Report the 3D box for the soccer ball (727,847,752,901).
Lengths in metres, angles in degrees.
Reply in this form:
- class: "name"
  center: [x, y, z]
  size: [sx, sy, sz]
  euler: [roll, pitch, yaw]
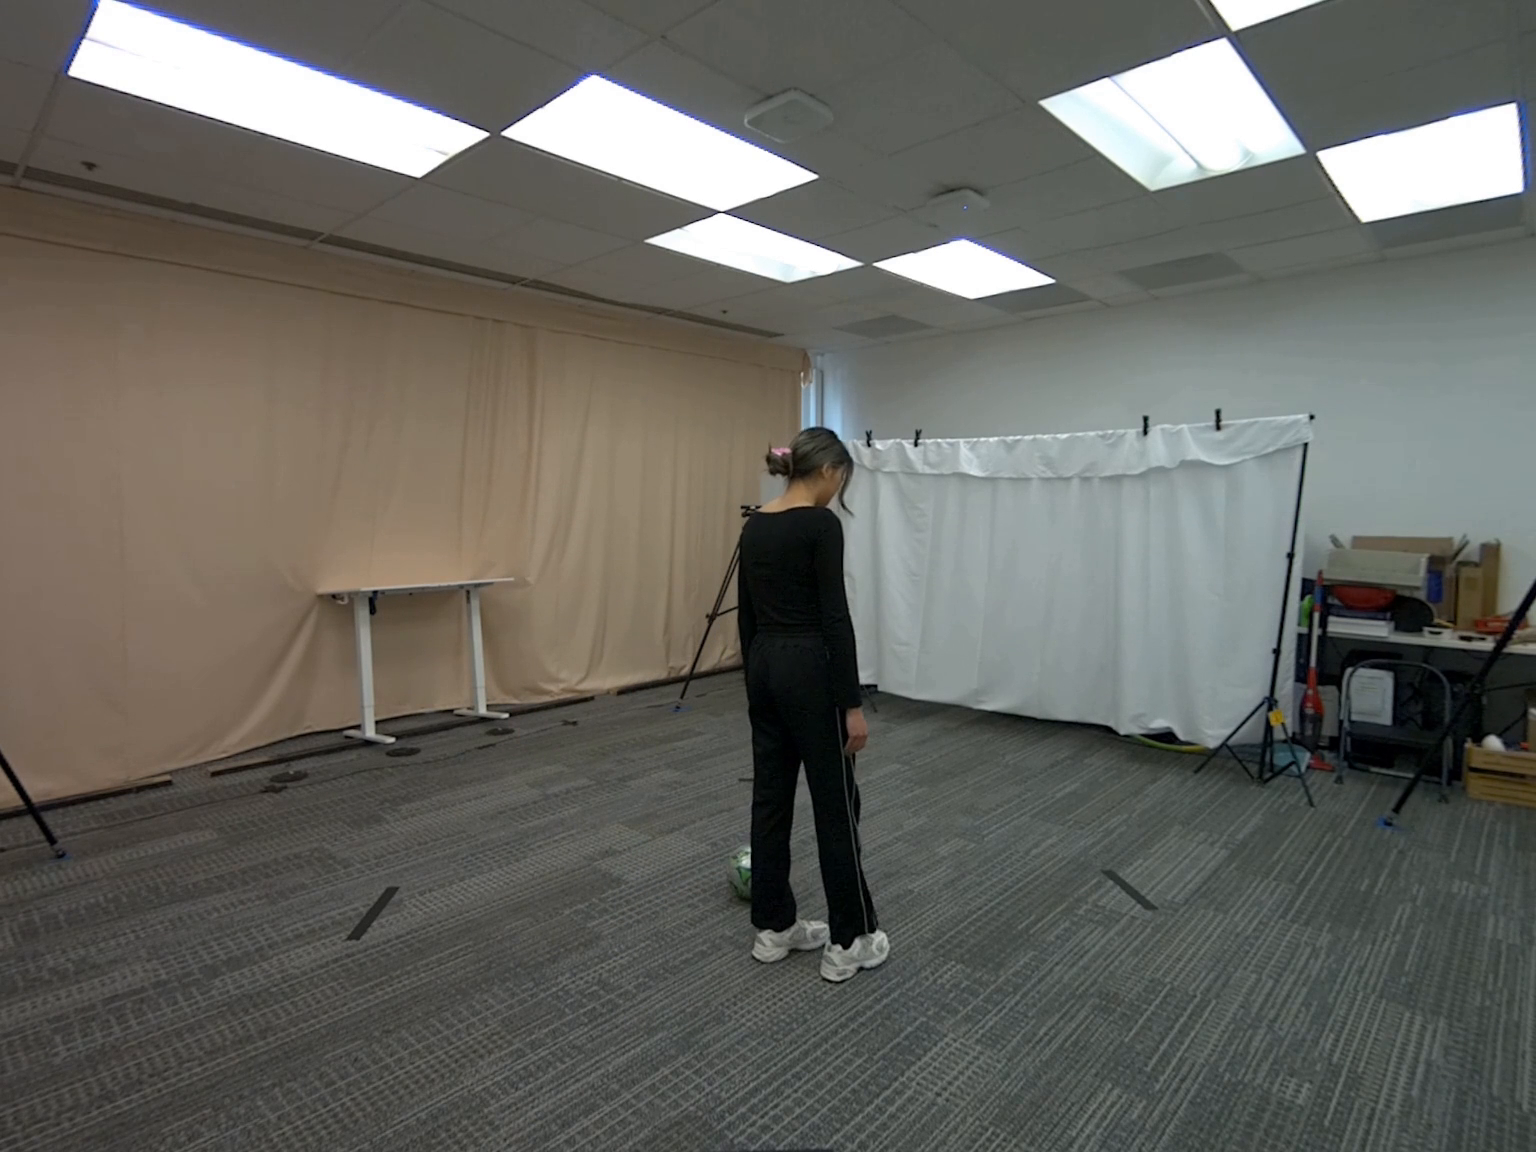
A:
- class: "soccer ball"
  center: [-0.055, 1.046, 2.995]
  size: [0.187, 0.187, 0.188]
  euler: [0, 4, -2]
